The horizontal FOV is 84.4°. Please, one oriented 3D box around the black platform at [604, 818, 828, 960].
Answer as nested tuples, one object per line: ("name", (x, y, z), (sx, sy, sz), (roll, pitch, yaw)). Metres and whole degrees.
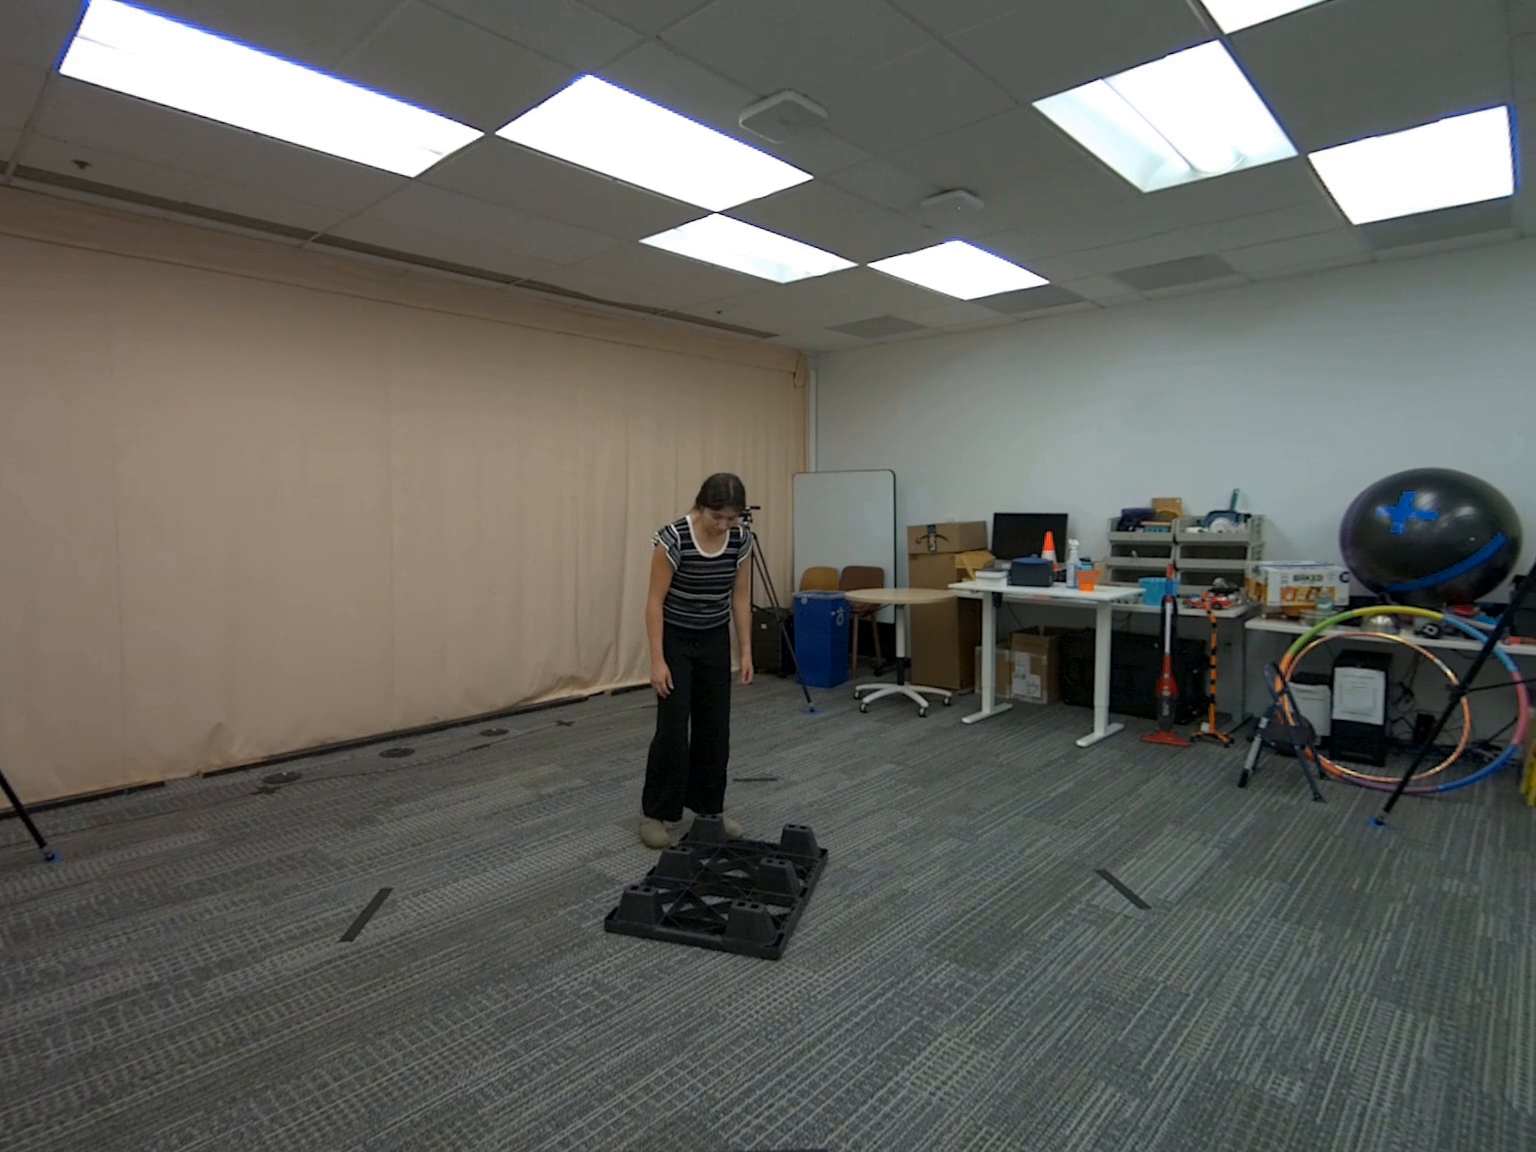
("black platform", (-0.151, 1.074, 3.039), (0.616, 0.143, 0.793), (1, 5, 16))
